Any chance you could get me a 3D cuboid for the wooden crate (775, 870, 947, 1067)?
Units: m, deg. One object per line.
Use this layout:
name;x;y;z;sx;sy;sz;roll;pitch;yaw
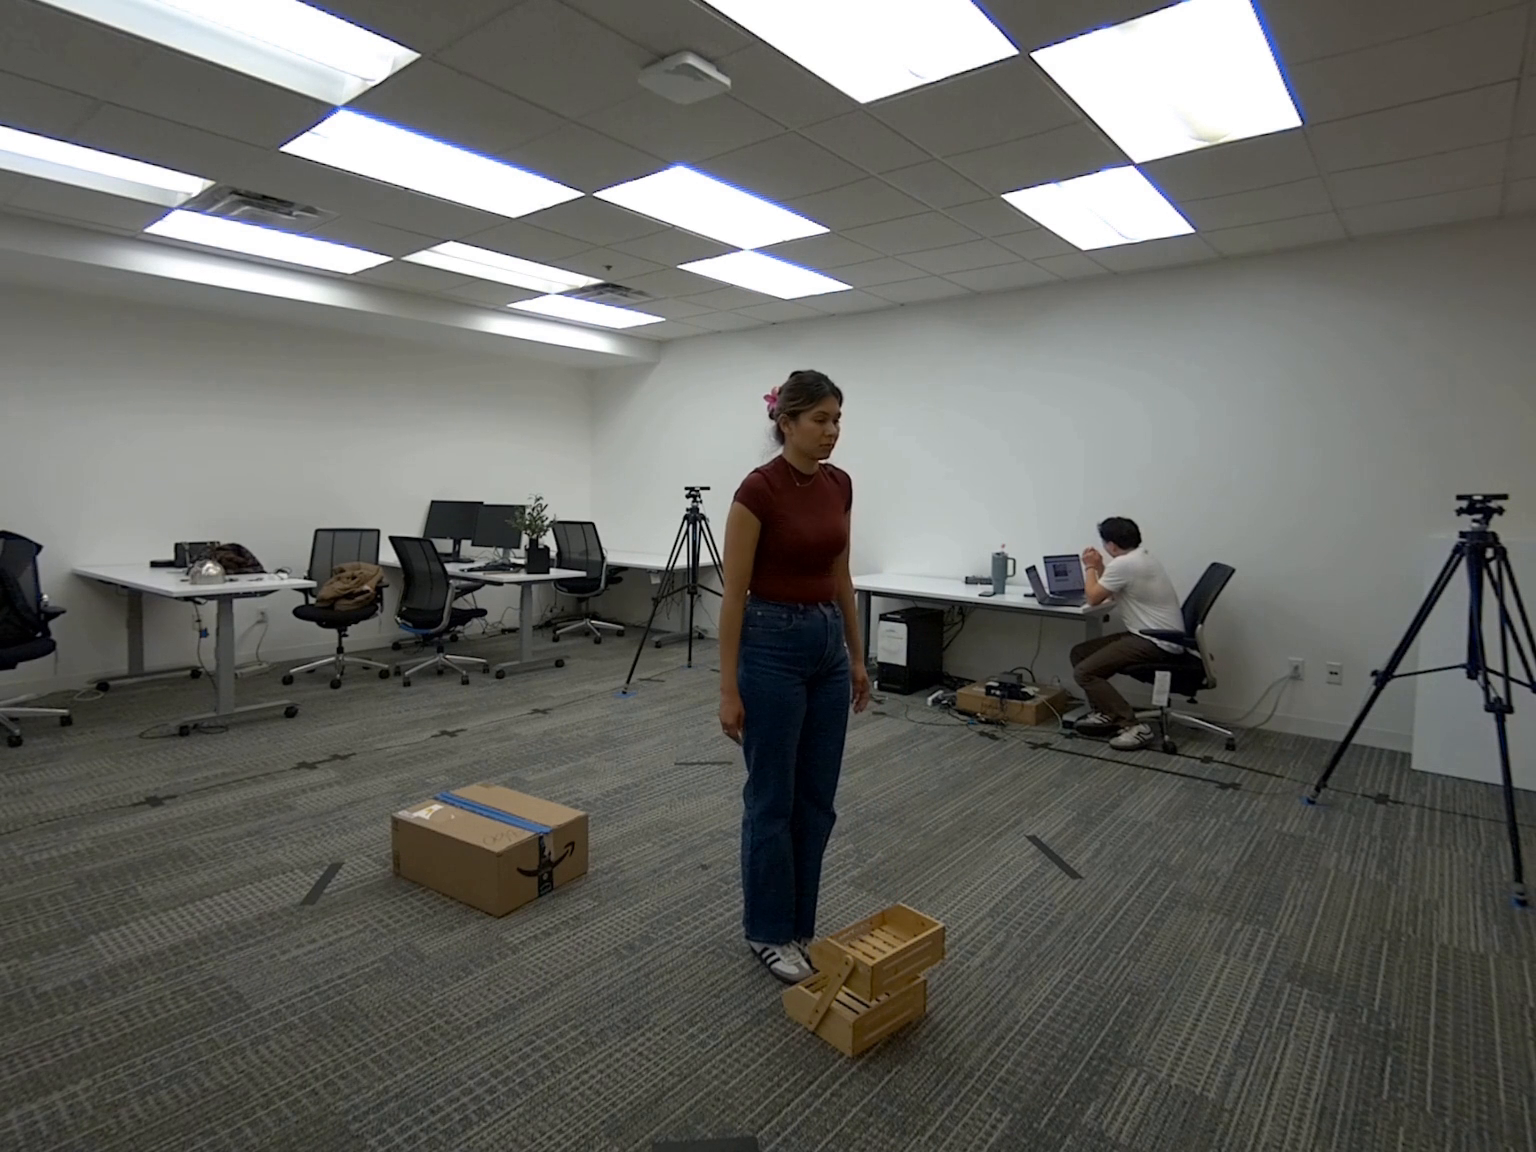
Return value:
wooden crate;0.245;1.020;2.238;0.315;0.272;0.312;-4;7;-42
